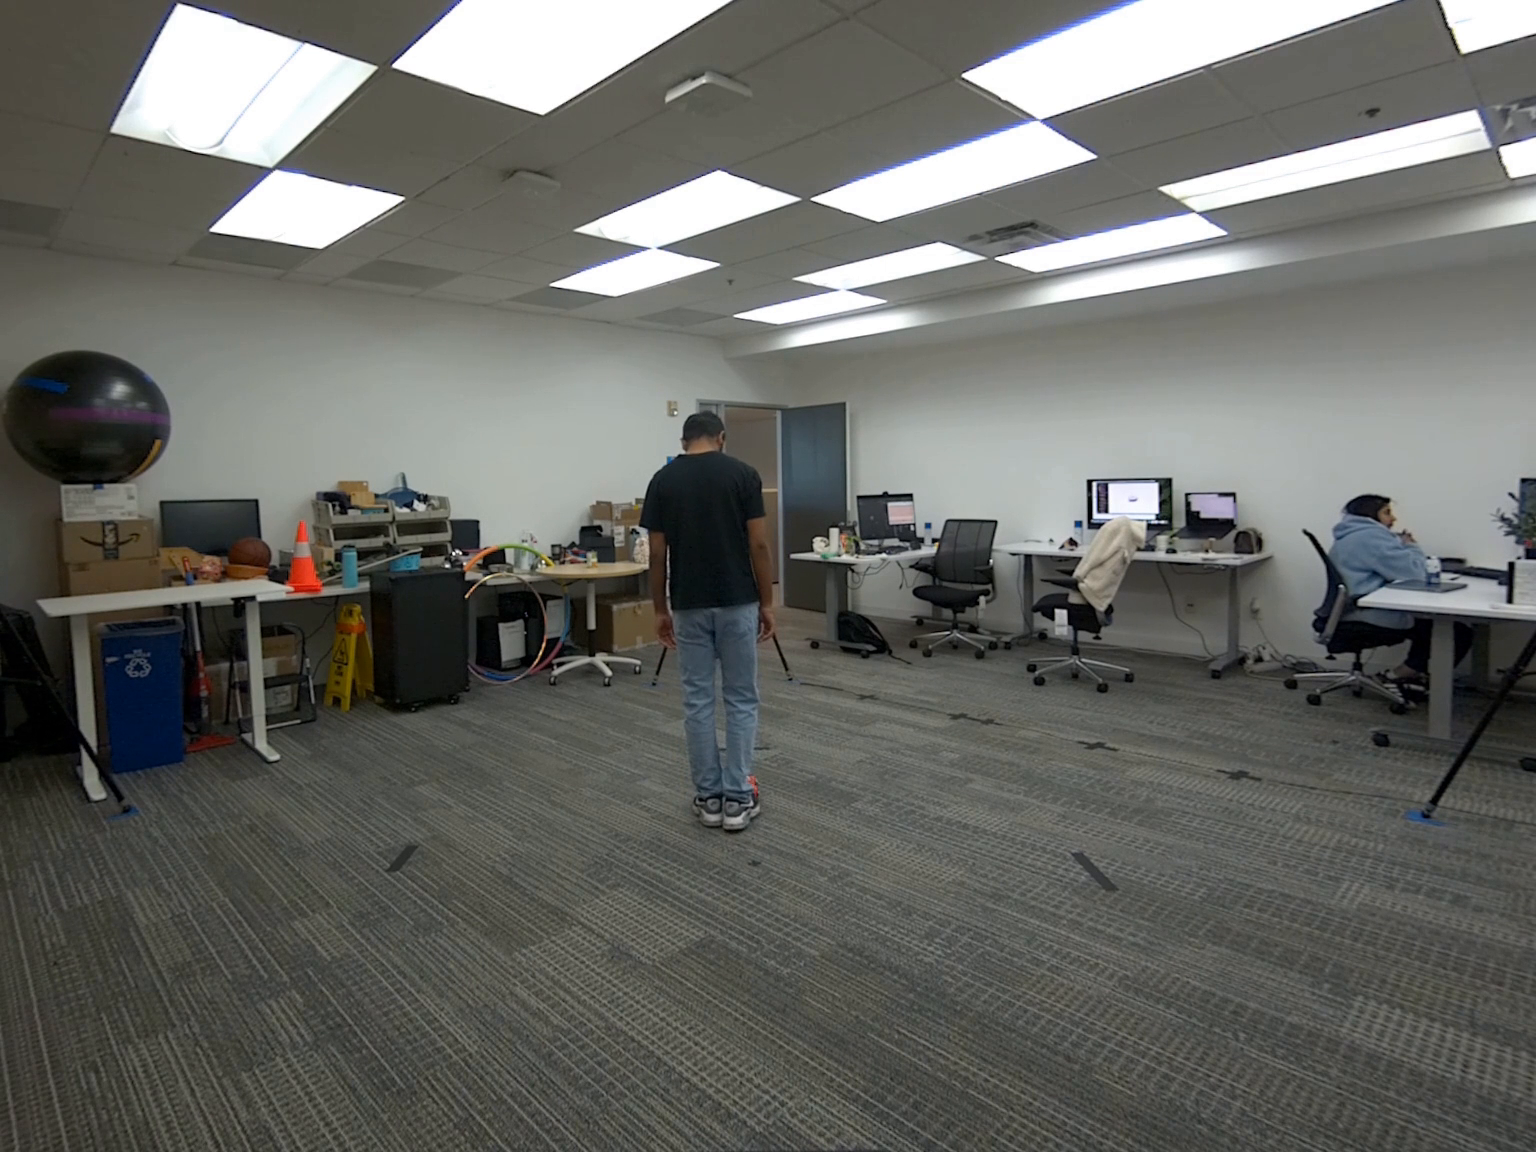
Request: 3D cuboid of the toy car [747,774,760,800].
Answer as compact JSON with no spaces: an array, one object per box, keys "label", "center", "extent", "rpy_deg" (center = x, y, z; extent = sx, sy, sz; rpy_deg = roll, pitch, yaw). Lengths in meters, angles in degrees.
[{"label":"toy car","center":[-0.097,0.936,3.787],"extent":[0.130,0.084,0.253],"rpy_deg":[-2,-5,-2]}]
